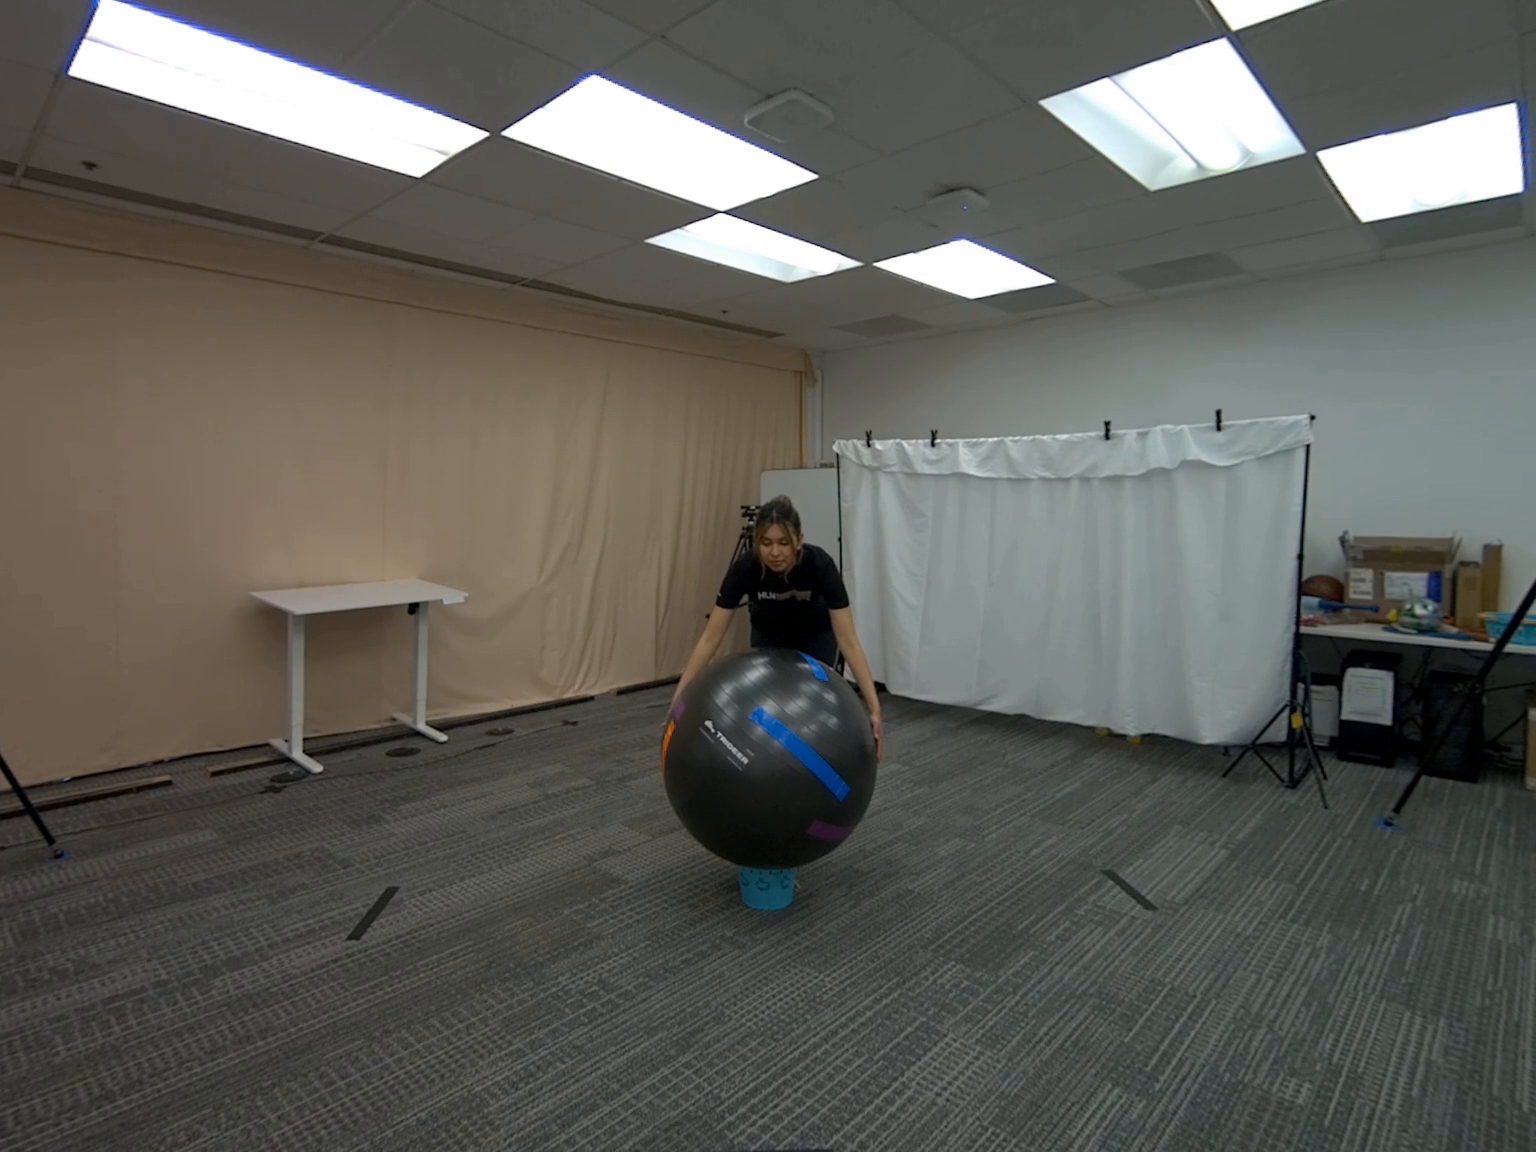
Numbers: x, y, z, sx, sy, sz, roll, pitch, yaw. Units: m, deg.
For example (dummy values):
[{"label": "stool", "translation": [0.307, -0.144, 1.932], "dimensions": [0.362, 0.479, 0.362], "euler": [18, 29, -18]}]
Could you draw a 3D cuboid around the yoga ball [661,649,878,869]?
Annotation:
[{"label": "yoga ball", "translation": [0.005, 0.631, 2.970], "dimensions": [0.757, 0.756, 0.760], "euler": [0, 4, -2]}]
